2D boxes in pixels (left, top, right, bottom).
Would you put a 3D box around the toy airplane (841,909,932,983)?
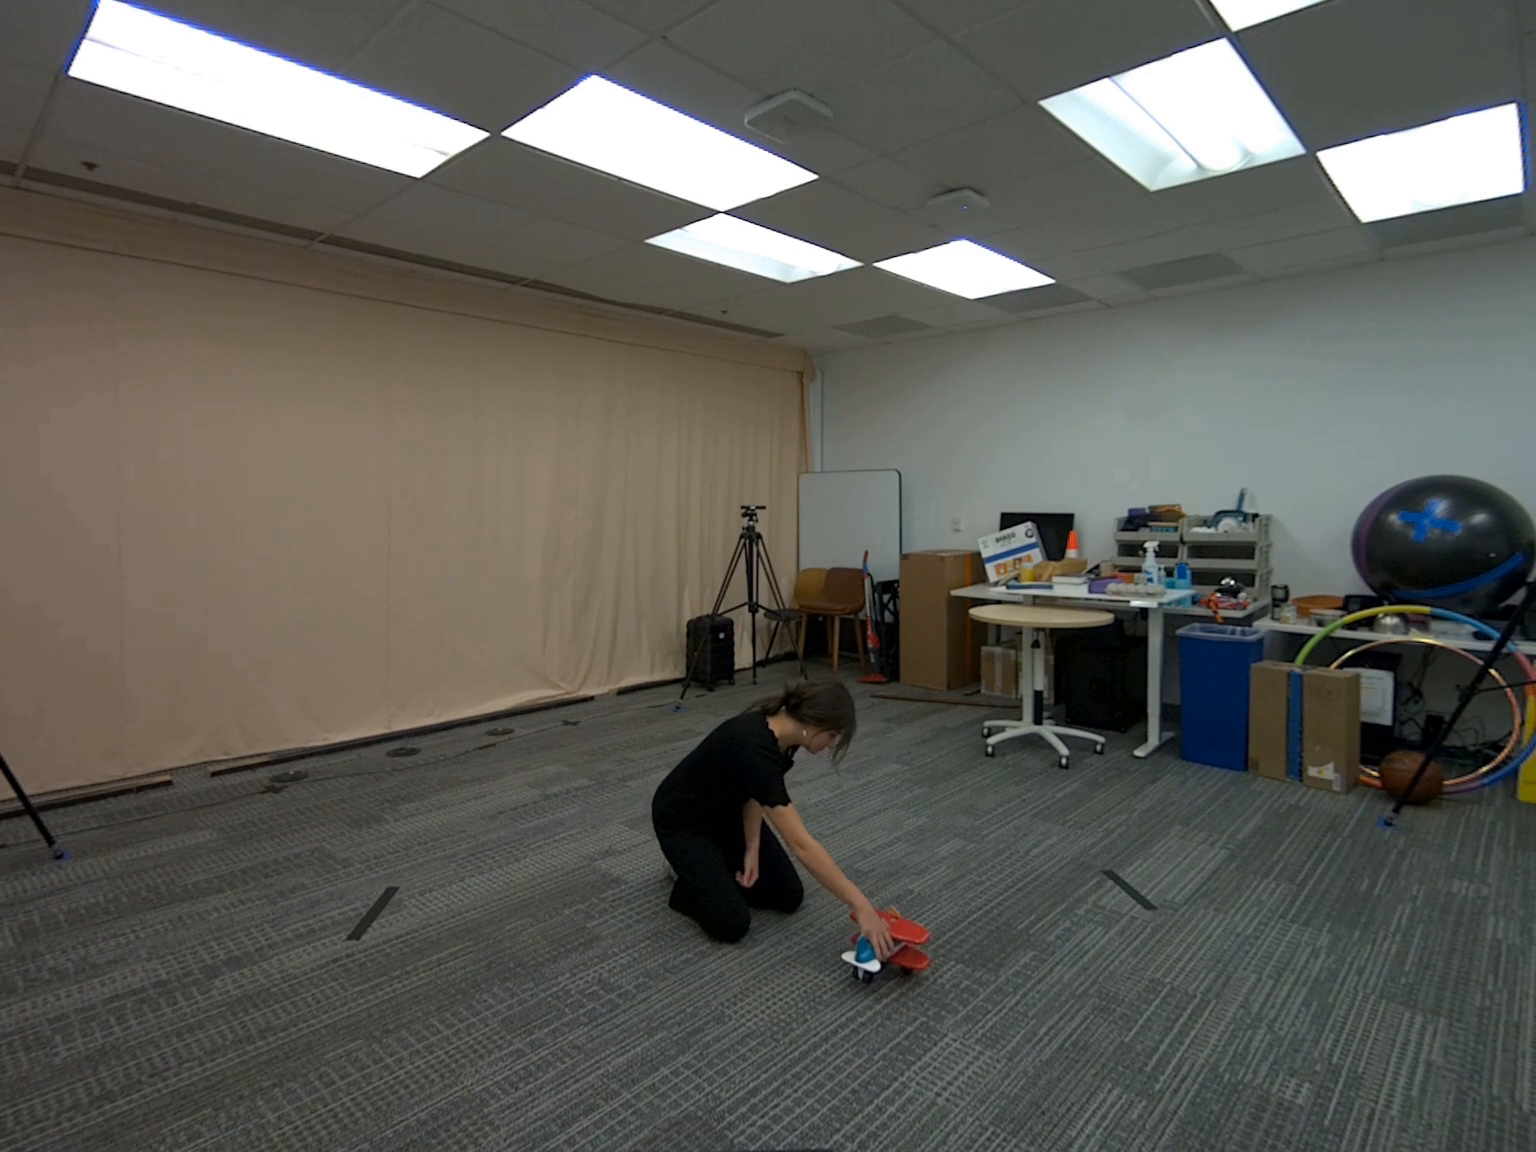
[{"bbox_3d":[0.361,1.102,2.468,0.256,0.157,0.254,6,-4,15],"label":"toy airplane"}]
